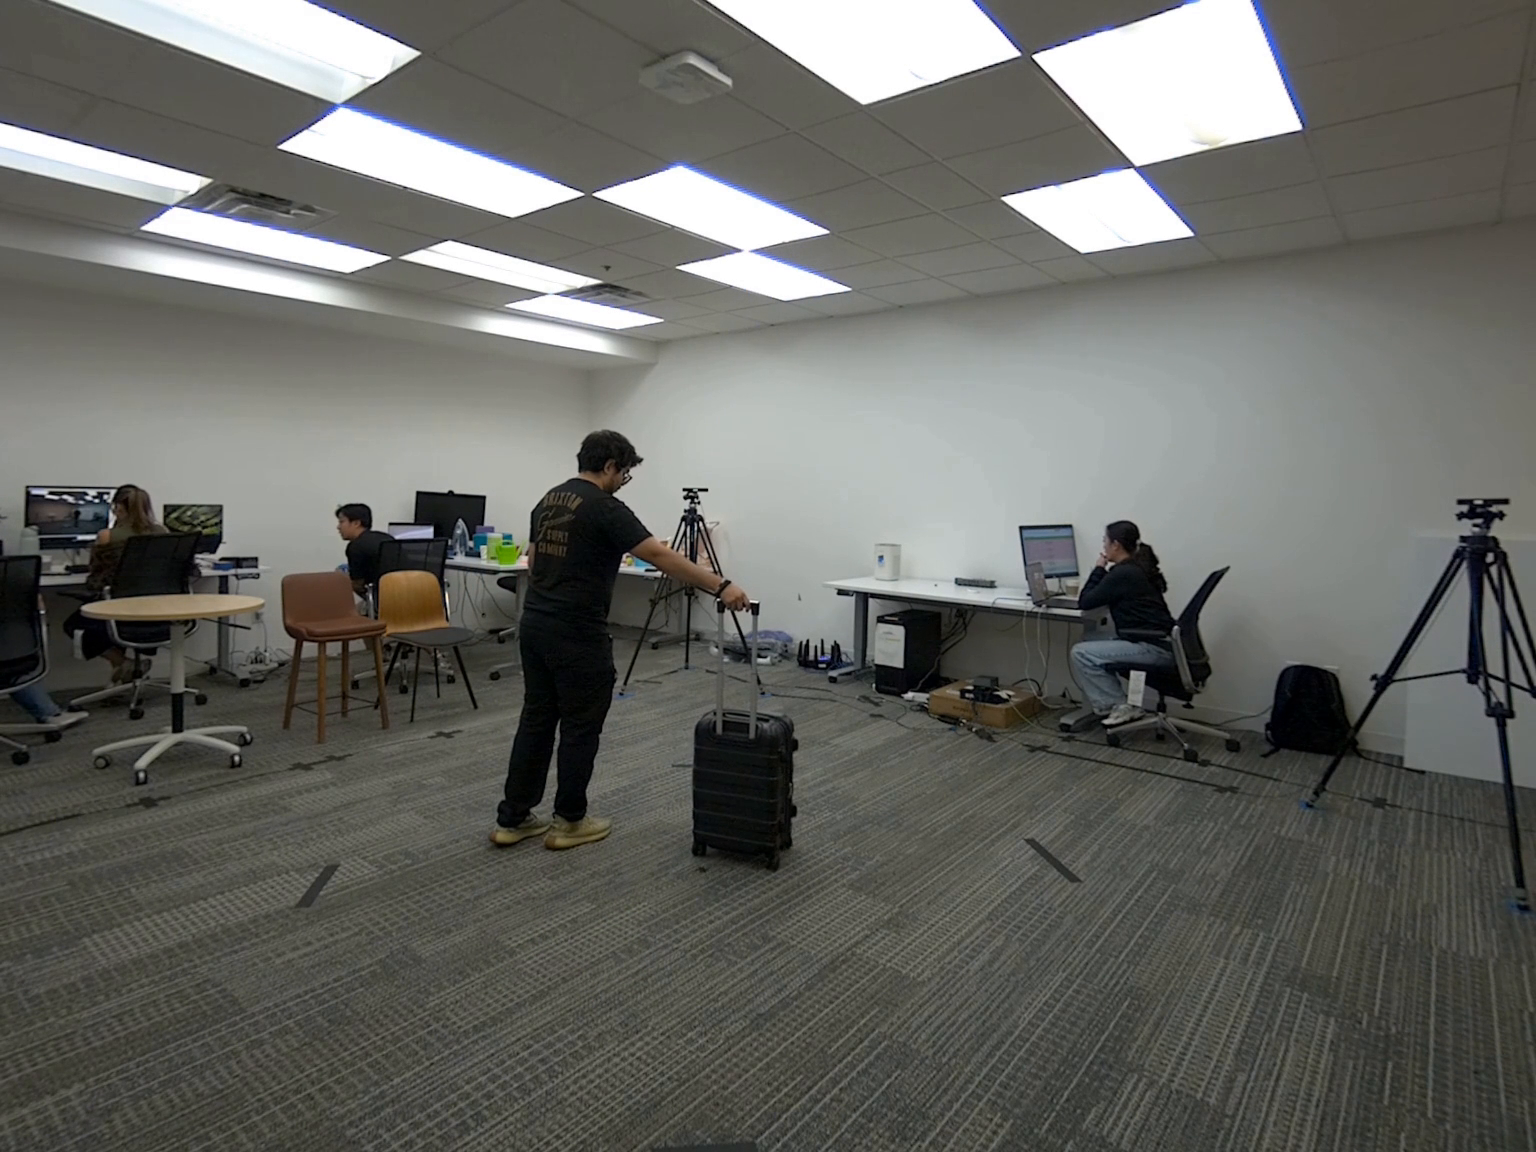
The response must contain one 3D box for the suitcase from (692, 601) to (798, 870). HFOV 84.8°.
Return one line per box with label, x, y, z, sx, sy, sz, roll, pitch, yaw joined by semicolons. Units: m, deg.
suitcase;-0.096;0.582;3.239;0.392;0.977;0.252;2;2;18
